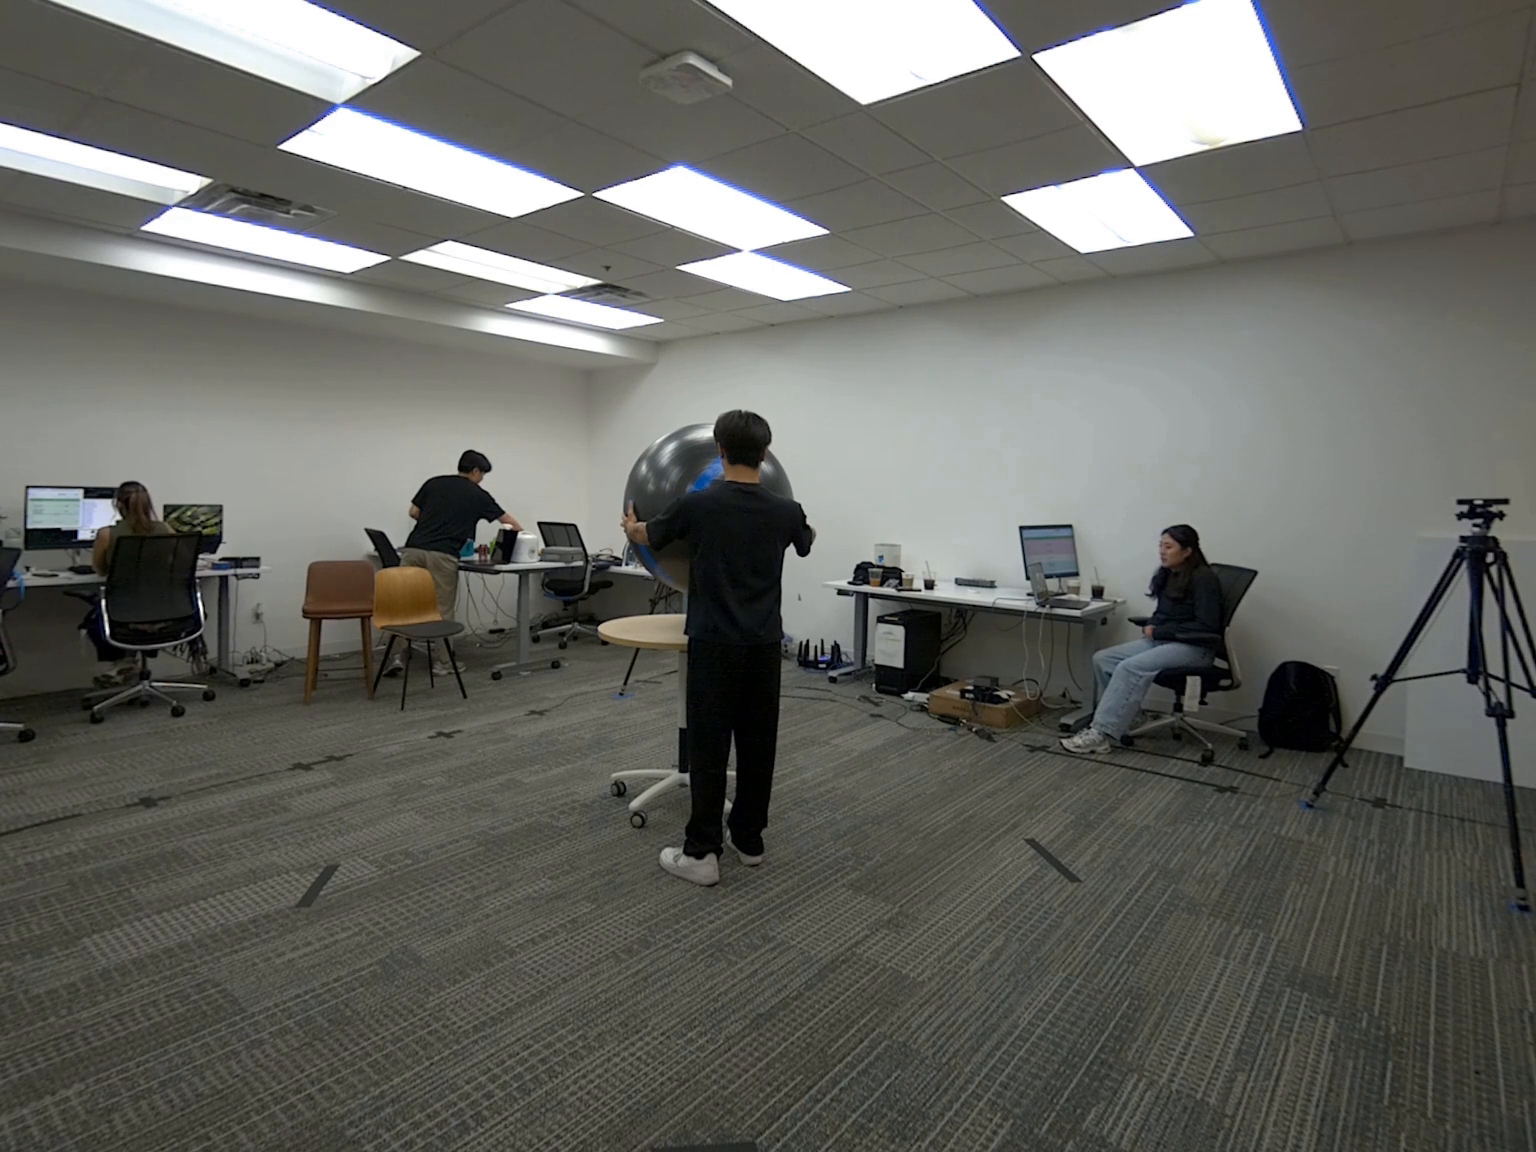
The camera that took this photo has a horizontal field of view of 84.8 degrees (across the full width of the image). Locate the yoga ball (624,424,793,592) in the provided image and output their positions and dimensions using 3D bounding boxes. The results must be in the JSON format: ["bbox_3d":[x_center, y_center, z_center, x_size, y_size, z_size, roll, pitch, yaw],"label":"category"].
[{"bbox_3d":[-0.273,-0.291,3.764,0.757,0.755,0.762,1,4,-2],"label":"yoga ball"}]
